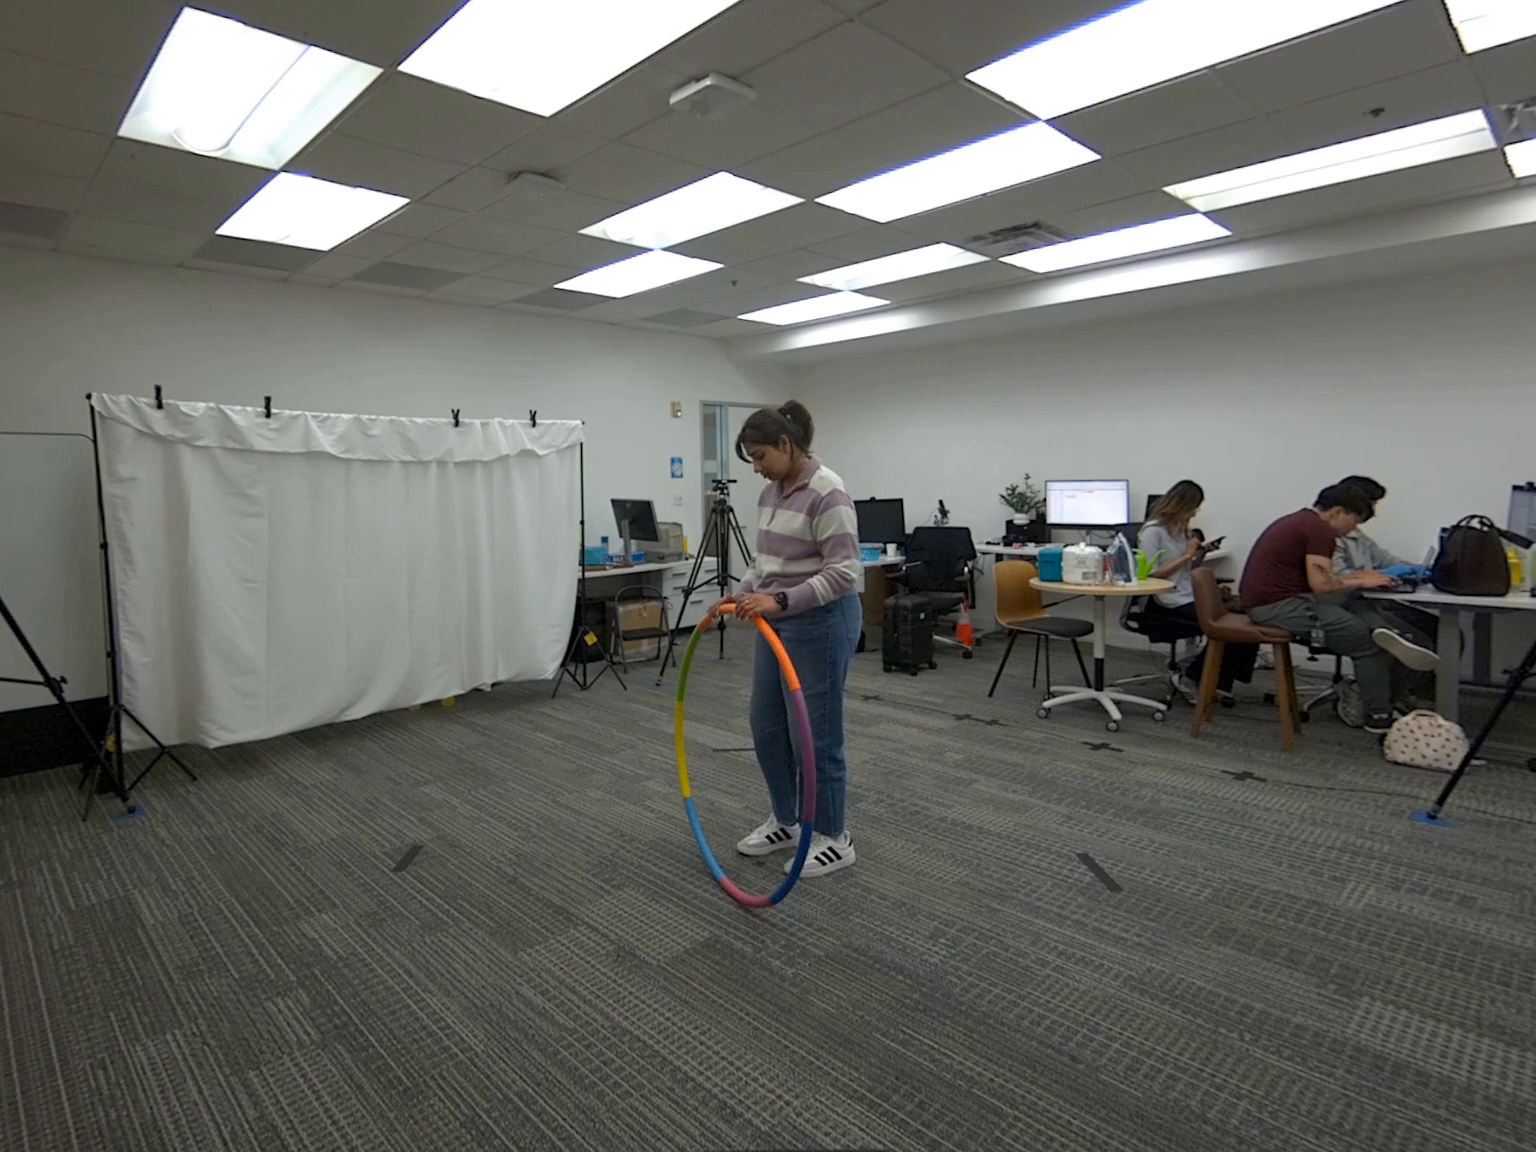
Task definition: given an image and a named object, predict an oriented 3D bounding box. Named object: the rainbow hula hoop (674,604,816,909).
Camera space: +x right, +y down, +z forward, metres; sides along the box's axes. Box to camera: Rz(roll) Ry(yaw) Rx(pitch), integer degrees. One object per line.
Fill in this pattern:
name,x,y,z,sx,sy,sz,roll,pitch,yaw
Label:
rainbow hula hoop,-0.113,0.592,2.867,0.050,0.983,1.011,0,4,-27
